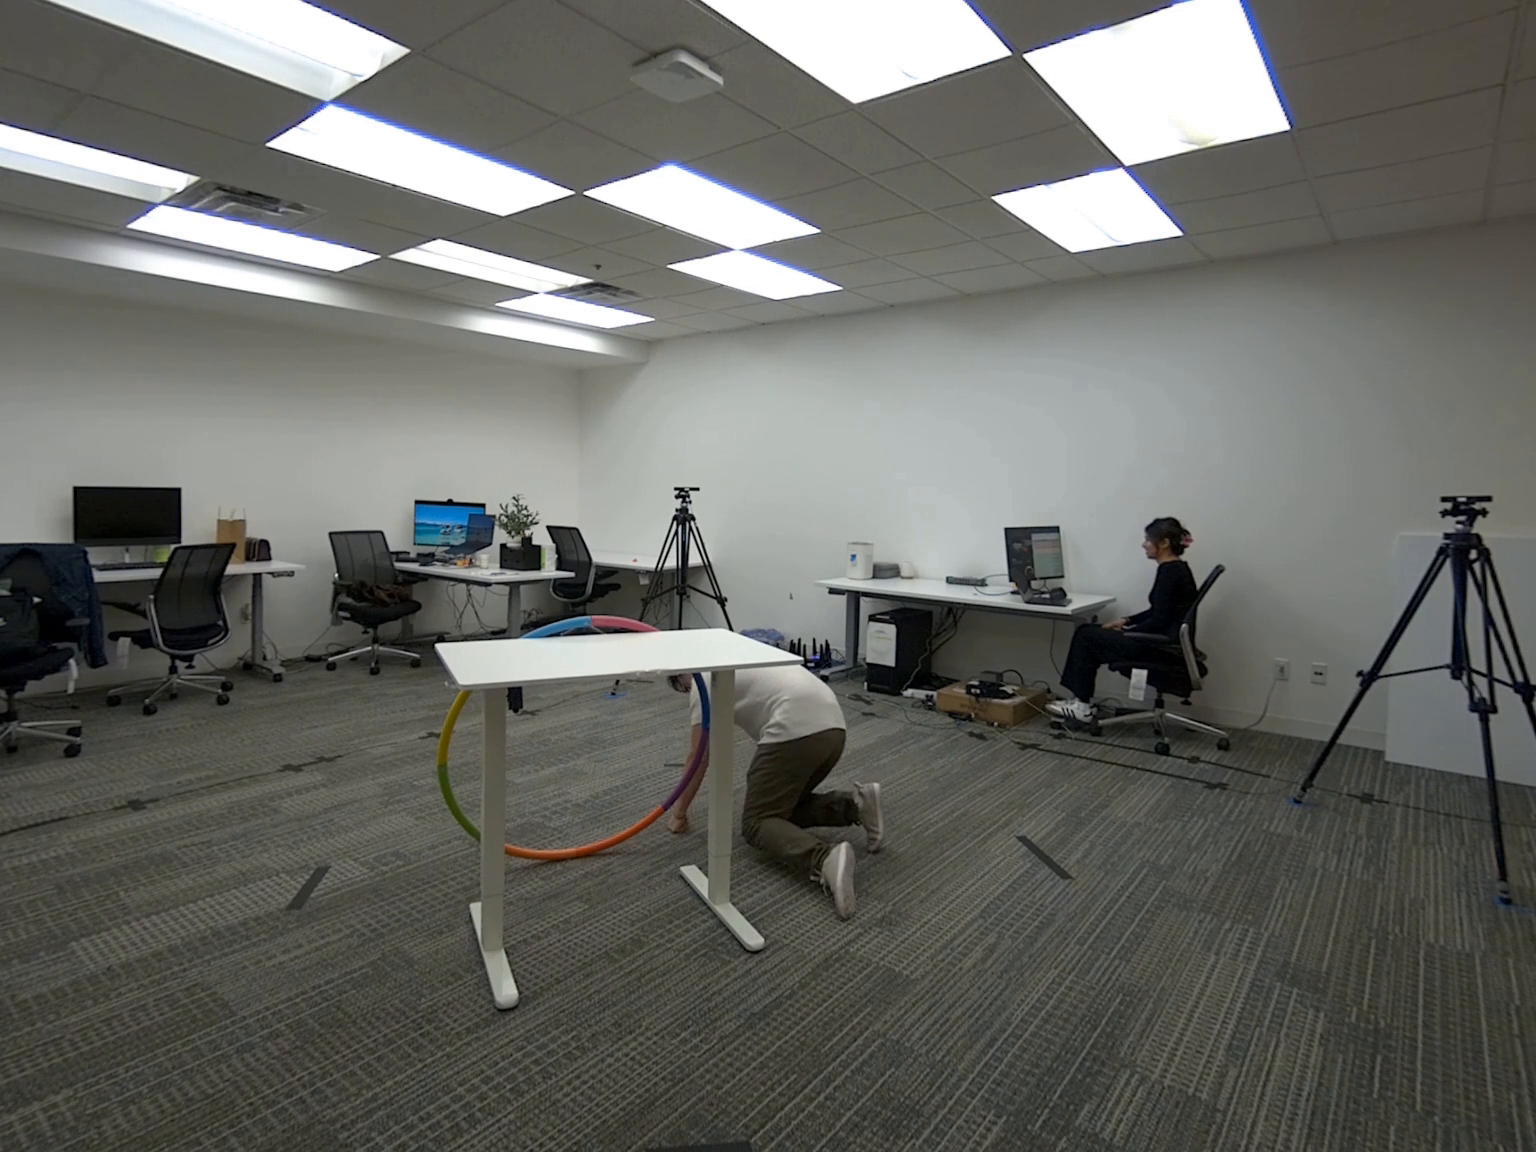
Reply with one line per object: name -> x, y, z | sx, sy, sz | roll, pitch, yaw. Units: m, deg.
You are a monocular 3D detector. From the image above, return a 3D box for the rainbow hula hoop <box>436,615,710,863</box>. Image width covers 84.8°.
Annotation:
rainbow hula hoop -> -0.689, 0.596, 3.042 | 0.955, 0.965, 0.037 | -1, 20, -25
